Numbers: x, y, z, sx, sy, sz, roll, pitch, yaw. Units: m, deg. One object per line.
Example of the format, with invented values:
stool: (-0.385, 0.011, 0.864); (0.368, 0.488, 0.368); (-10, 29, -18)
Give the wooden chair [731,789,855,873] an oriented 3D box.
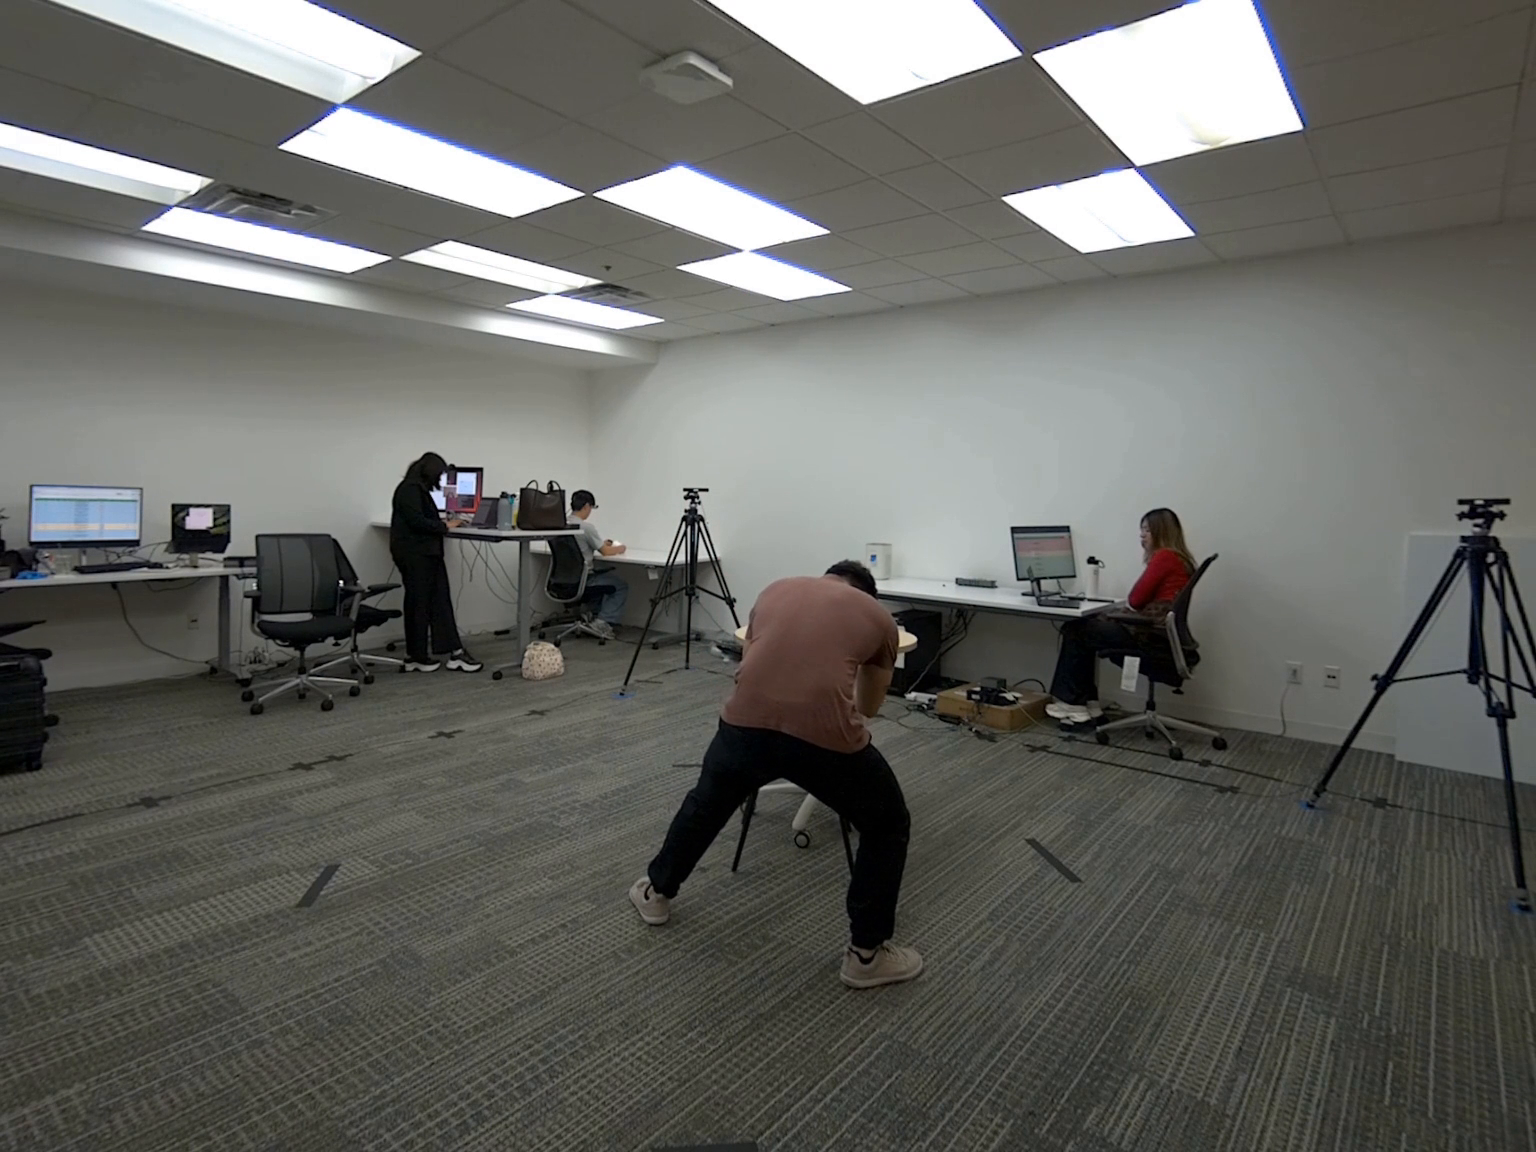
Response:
wooden chair: (0.104, 0.630, 3.265); (0.482, 0.871, 0.523); (1, 8, 6)
